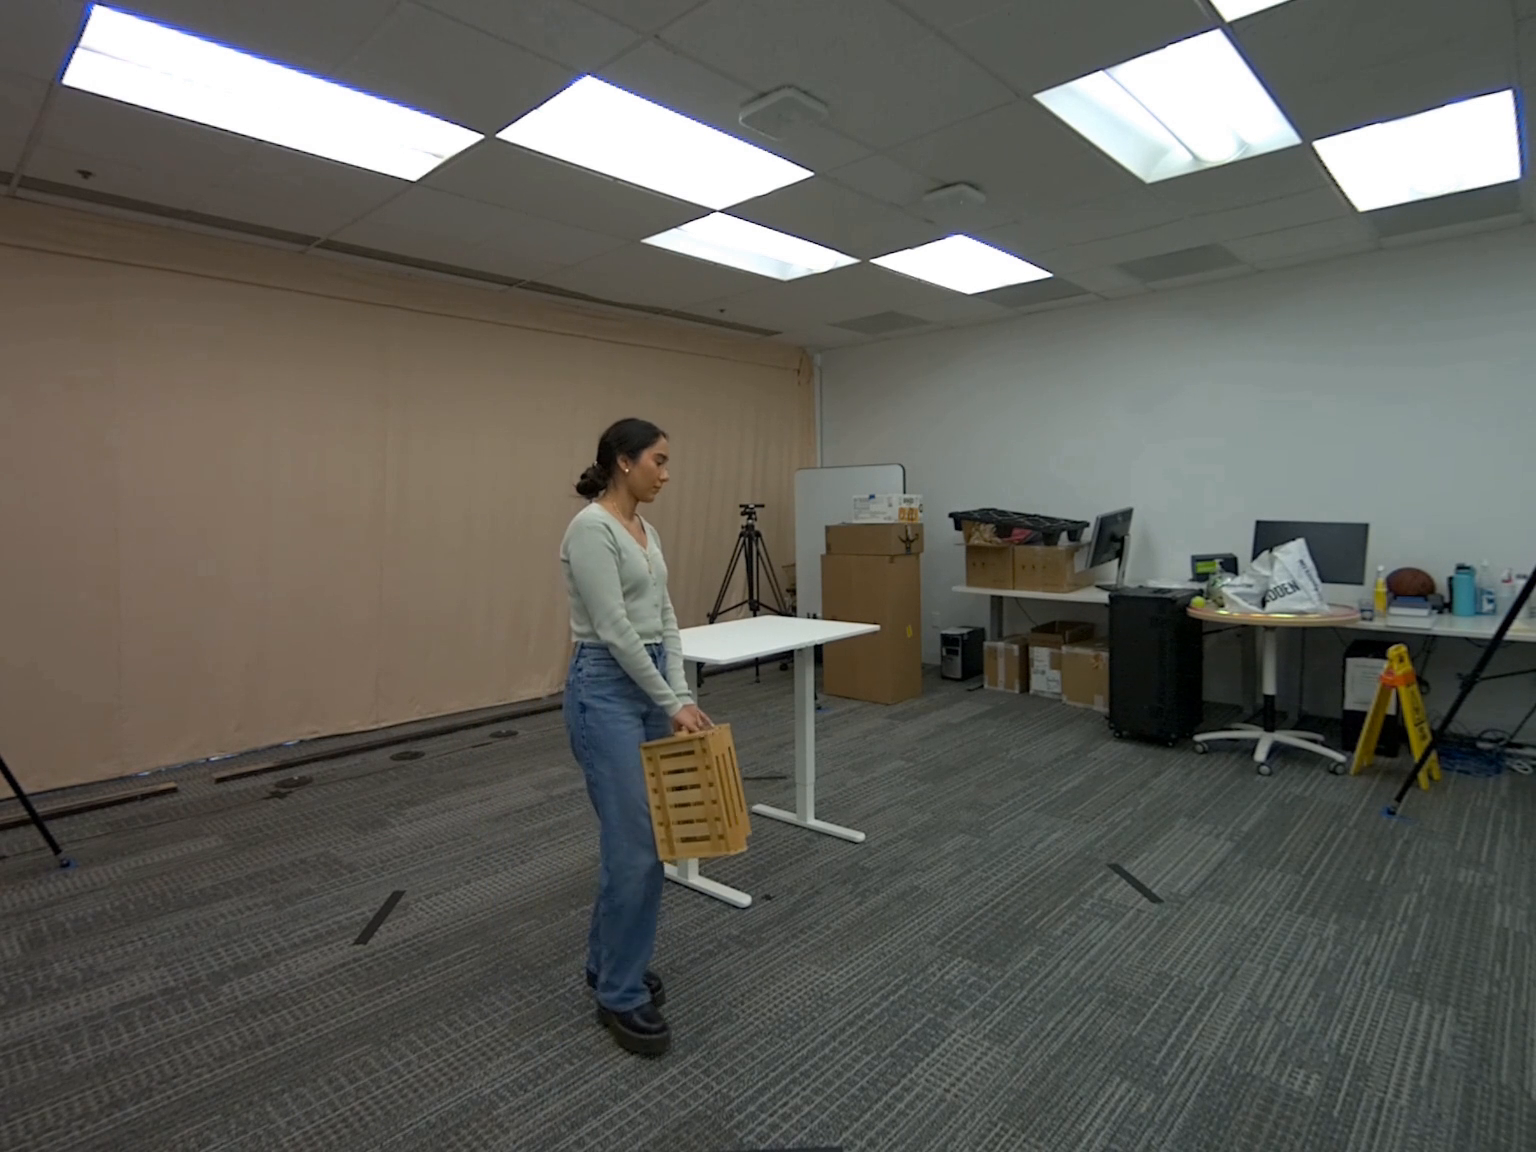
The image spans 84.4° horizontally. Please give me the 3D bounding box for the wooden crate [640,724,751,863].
[{"bbox_3d":[-0.154,0.565,2.265,0.309,0.327,0.265,-16,-10,31],"label":"wooden crate"}]
